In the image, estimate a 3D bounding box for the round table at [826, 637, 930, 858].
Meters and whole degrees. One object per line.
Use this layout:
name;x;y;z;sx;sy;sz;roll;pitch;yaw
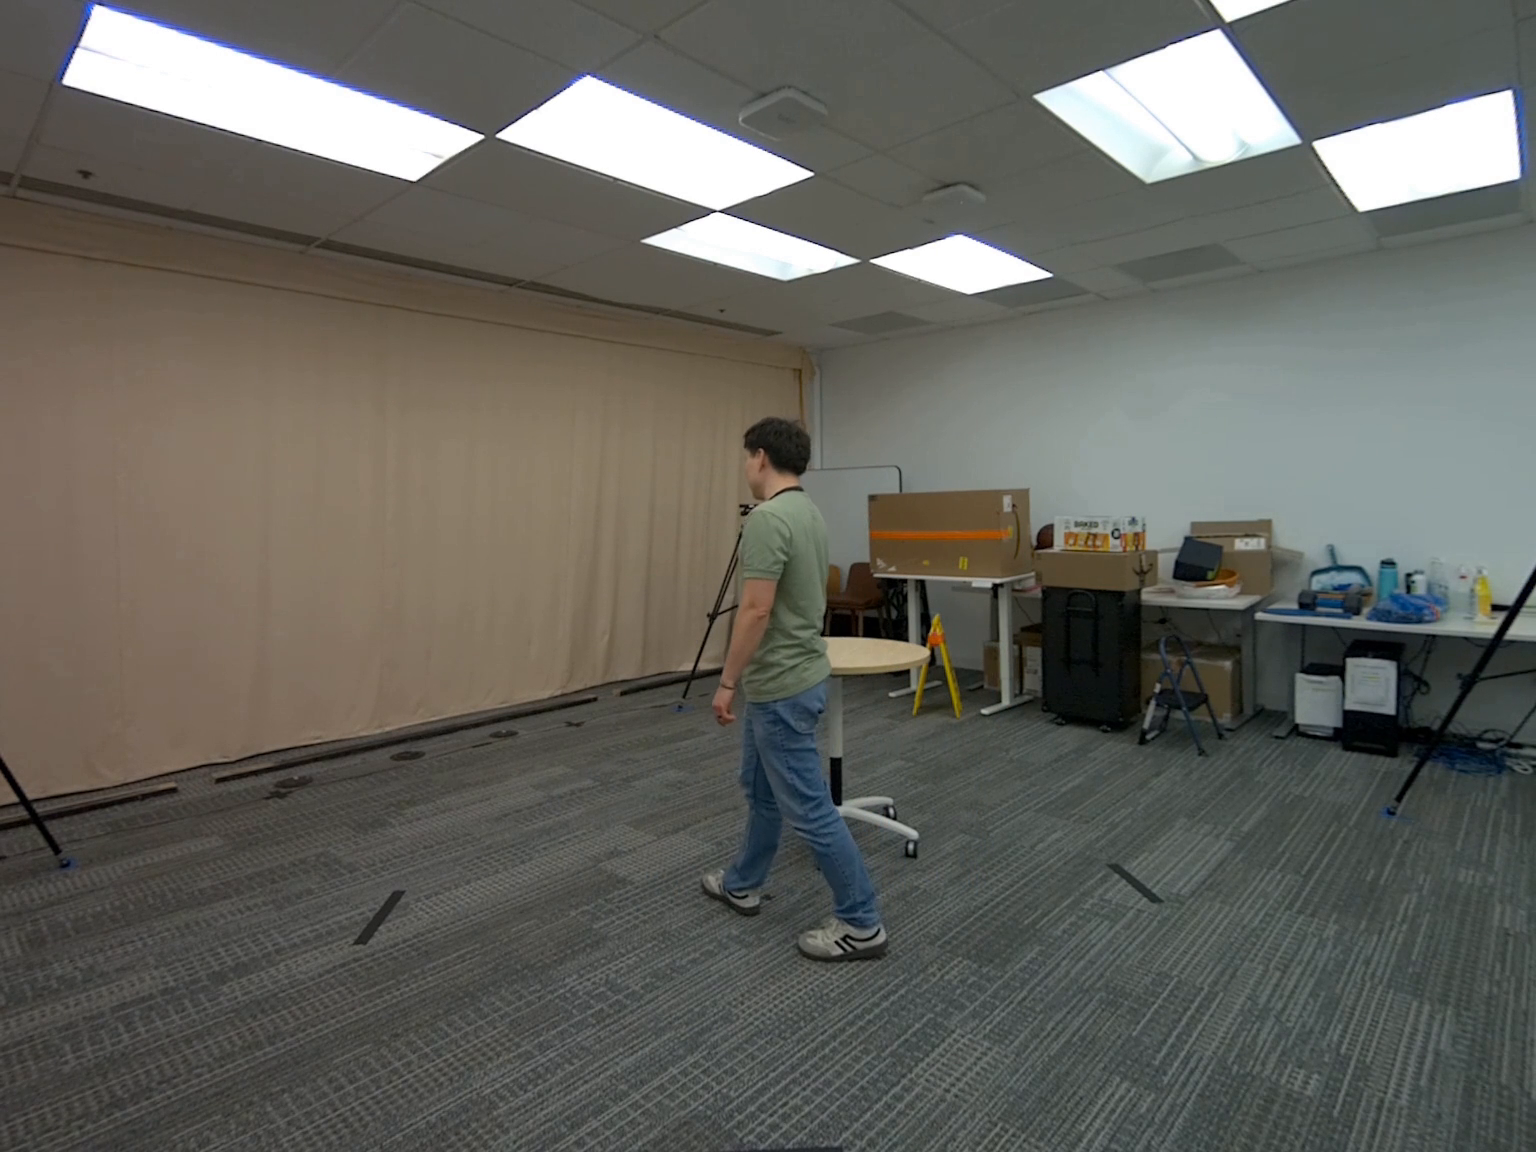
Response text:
round table;0.283;0.702;3.486;0.763;0.792;0.766;-1;3;-2
